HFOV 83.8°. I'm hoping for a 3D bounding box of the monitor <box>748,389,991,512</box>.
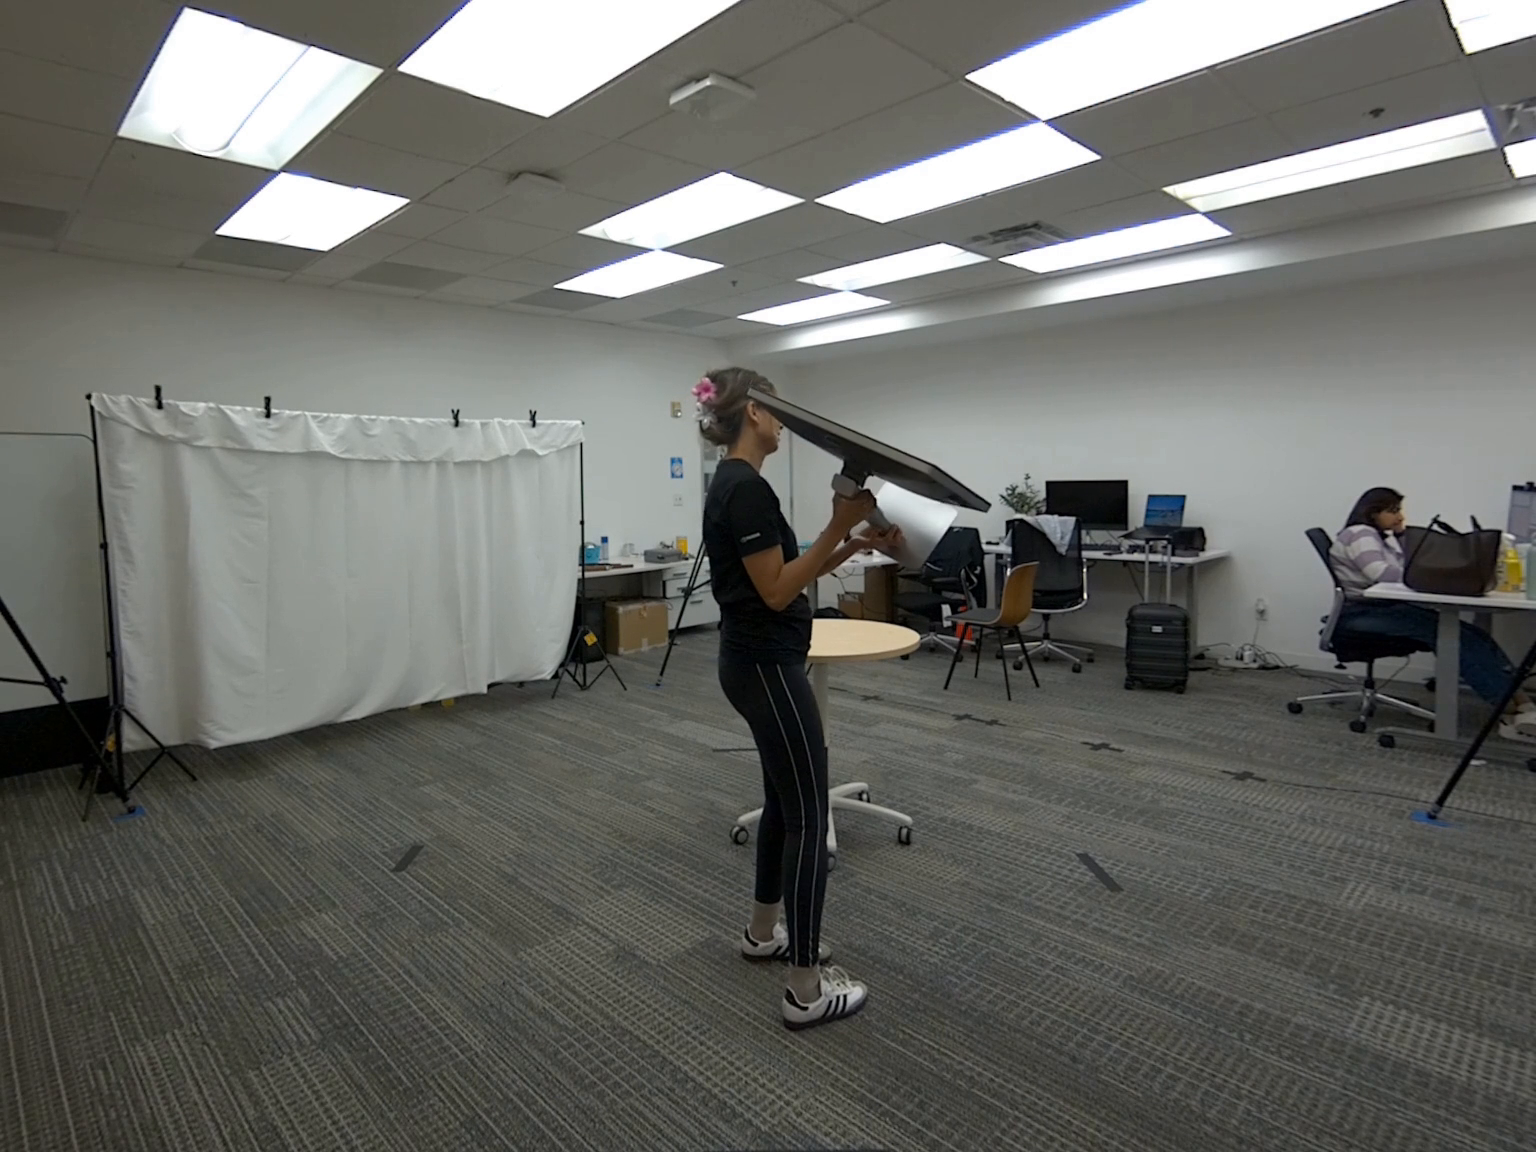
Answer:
[{"bbox_3d":[0.267,-0.249,2.176,0.560,0.187,0.502,30,-7,39],"label":"monitor"}]
